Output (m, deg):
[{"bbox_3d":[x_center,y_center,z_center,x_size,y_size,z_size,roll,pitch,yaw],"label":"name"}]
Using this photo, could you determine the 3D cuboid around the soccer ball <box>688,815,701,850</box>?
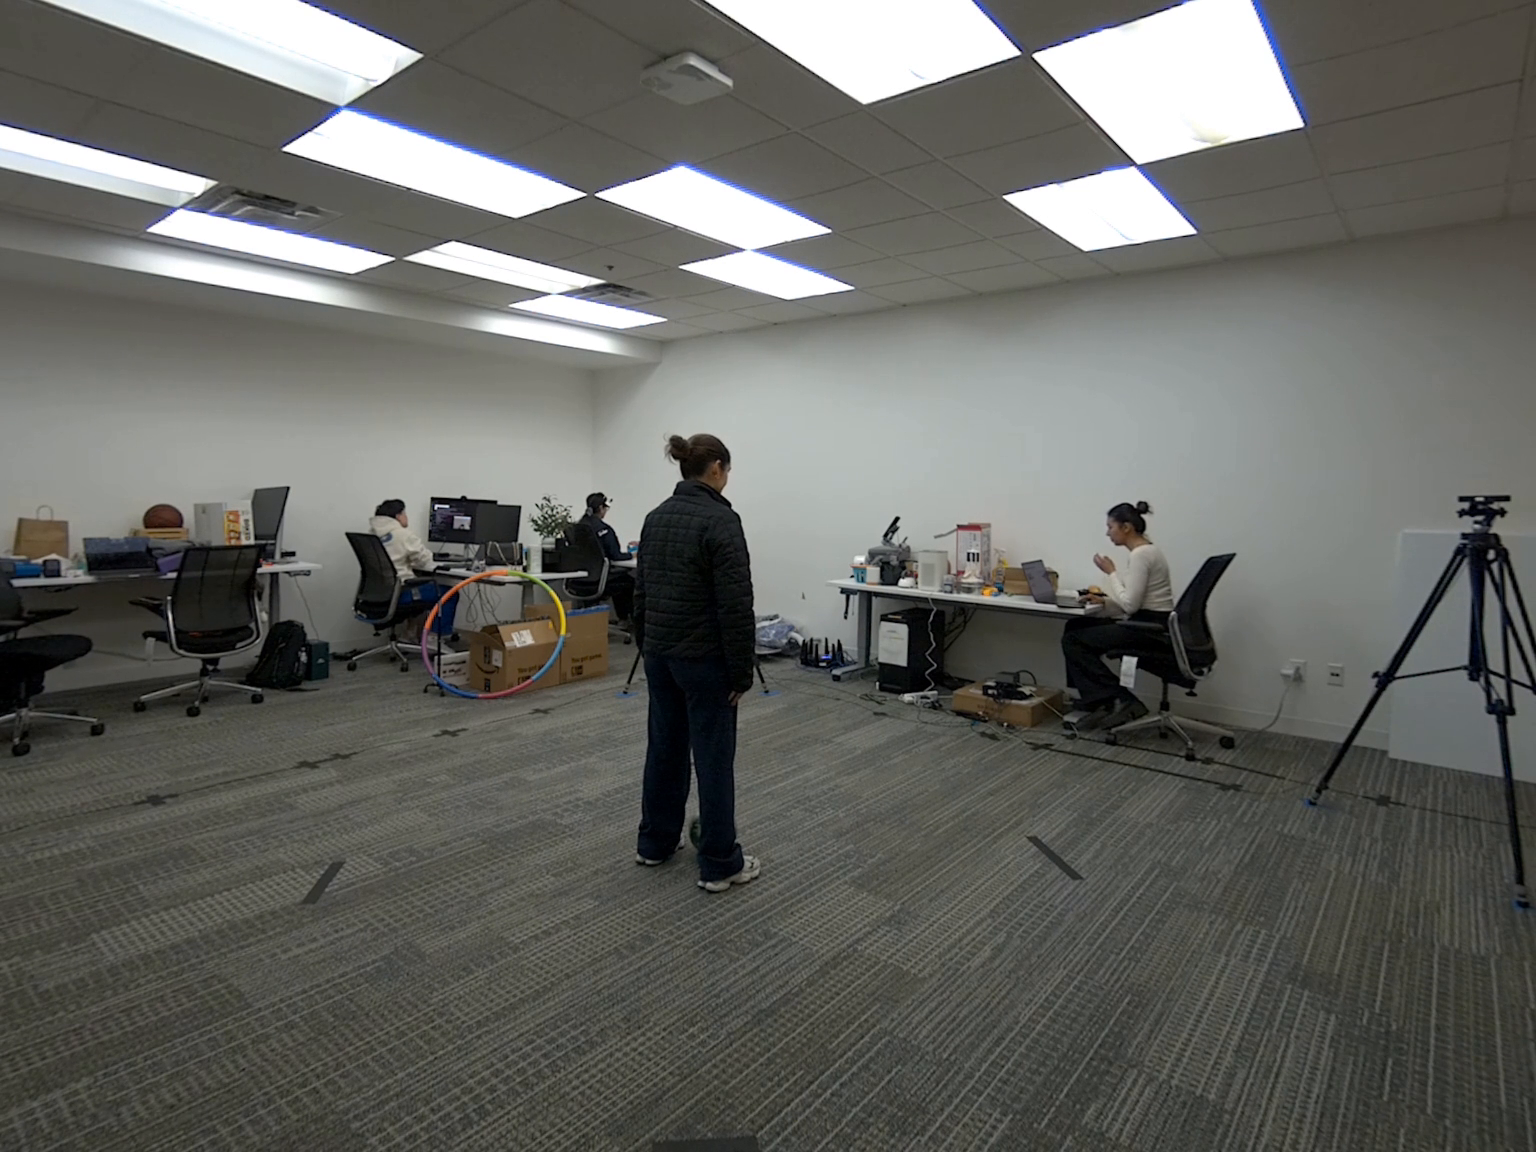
[{"bbox_3d":[-0.216,0.958,3.218,0.187,0.187,0.188,1,4,-2],"label":"soccer ball"}]
